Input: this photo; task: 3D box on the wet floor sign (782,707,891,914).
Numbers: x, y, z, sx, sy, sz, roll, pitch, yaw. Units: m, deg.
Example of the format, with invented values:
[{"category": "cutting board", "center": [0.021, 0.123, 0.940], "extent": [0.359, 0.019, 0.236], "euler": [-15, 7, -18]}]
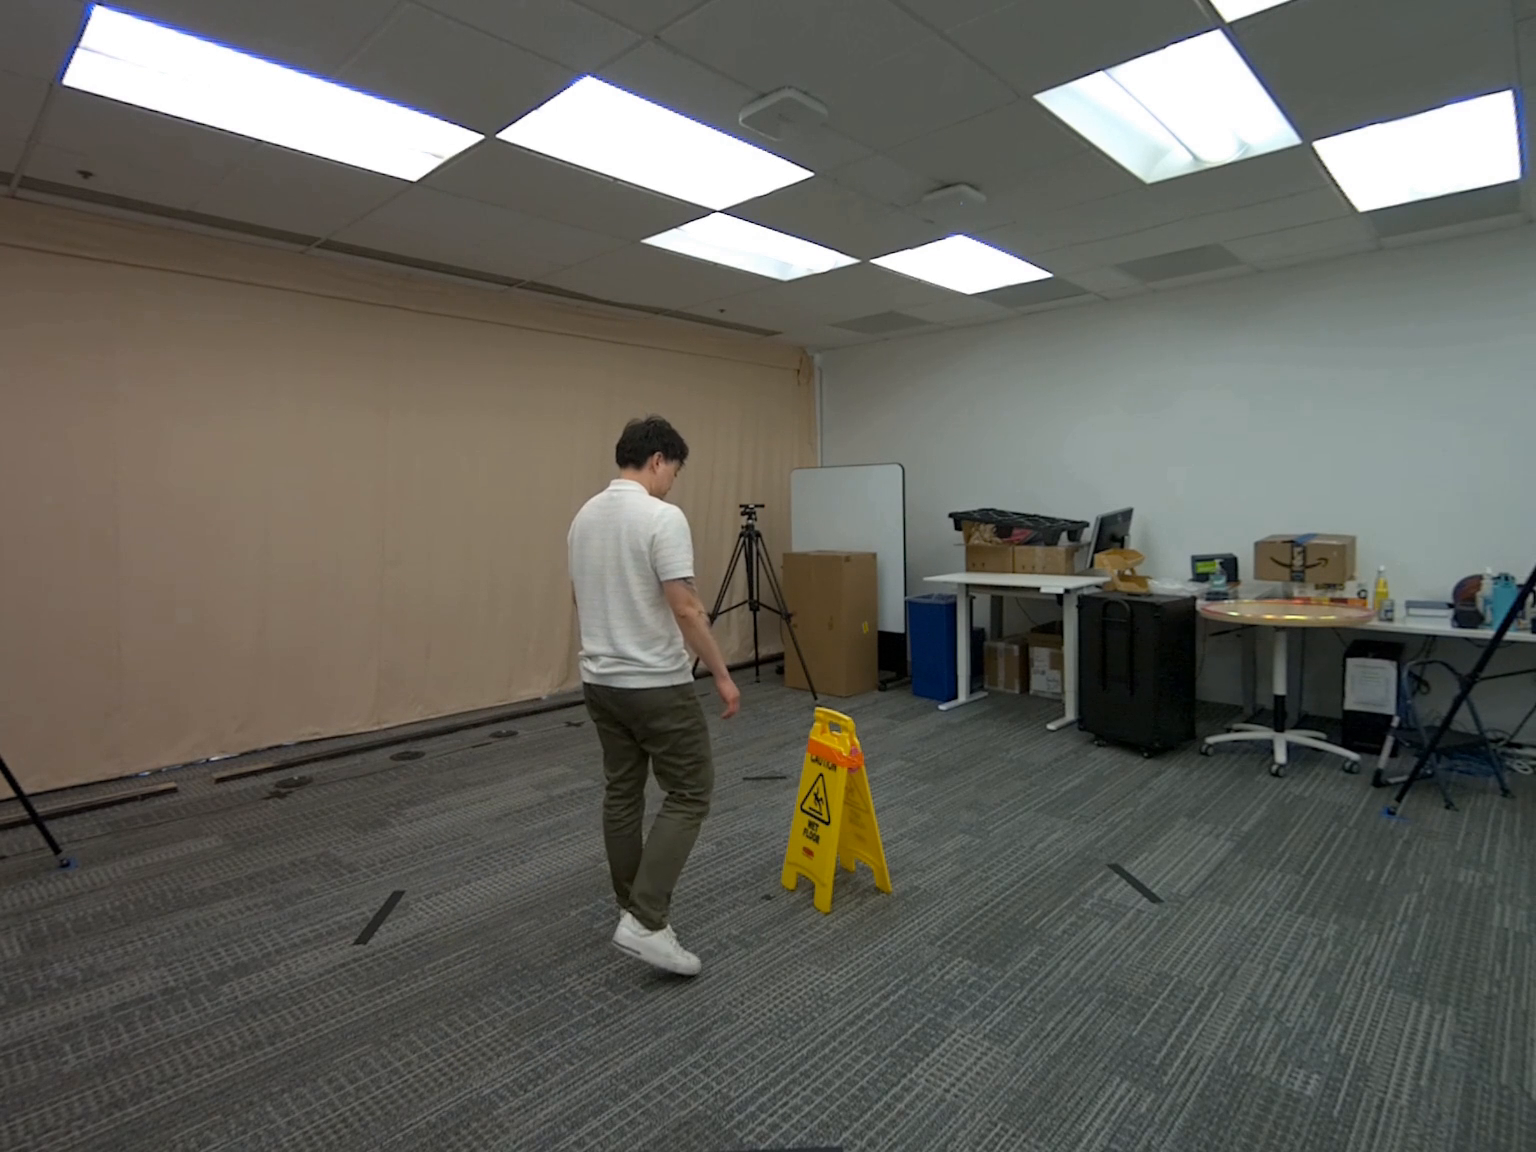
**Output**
[{"category": "wet floor sign", "center": [0.242, 0.806, 3.023], "extent": [0.282, 0.645, 0.291], "euler": [-3, 3, -32]}]
